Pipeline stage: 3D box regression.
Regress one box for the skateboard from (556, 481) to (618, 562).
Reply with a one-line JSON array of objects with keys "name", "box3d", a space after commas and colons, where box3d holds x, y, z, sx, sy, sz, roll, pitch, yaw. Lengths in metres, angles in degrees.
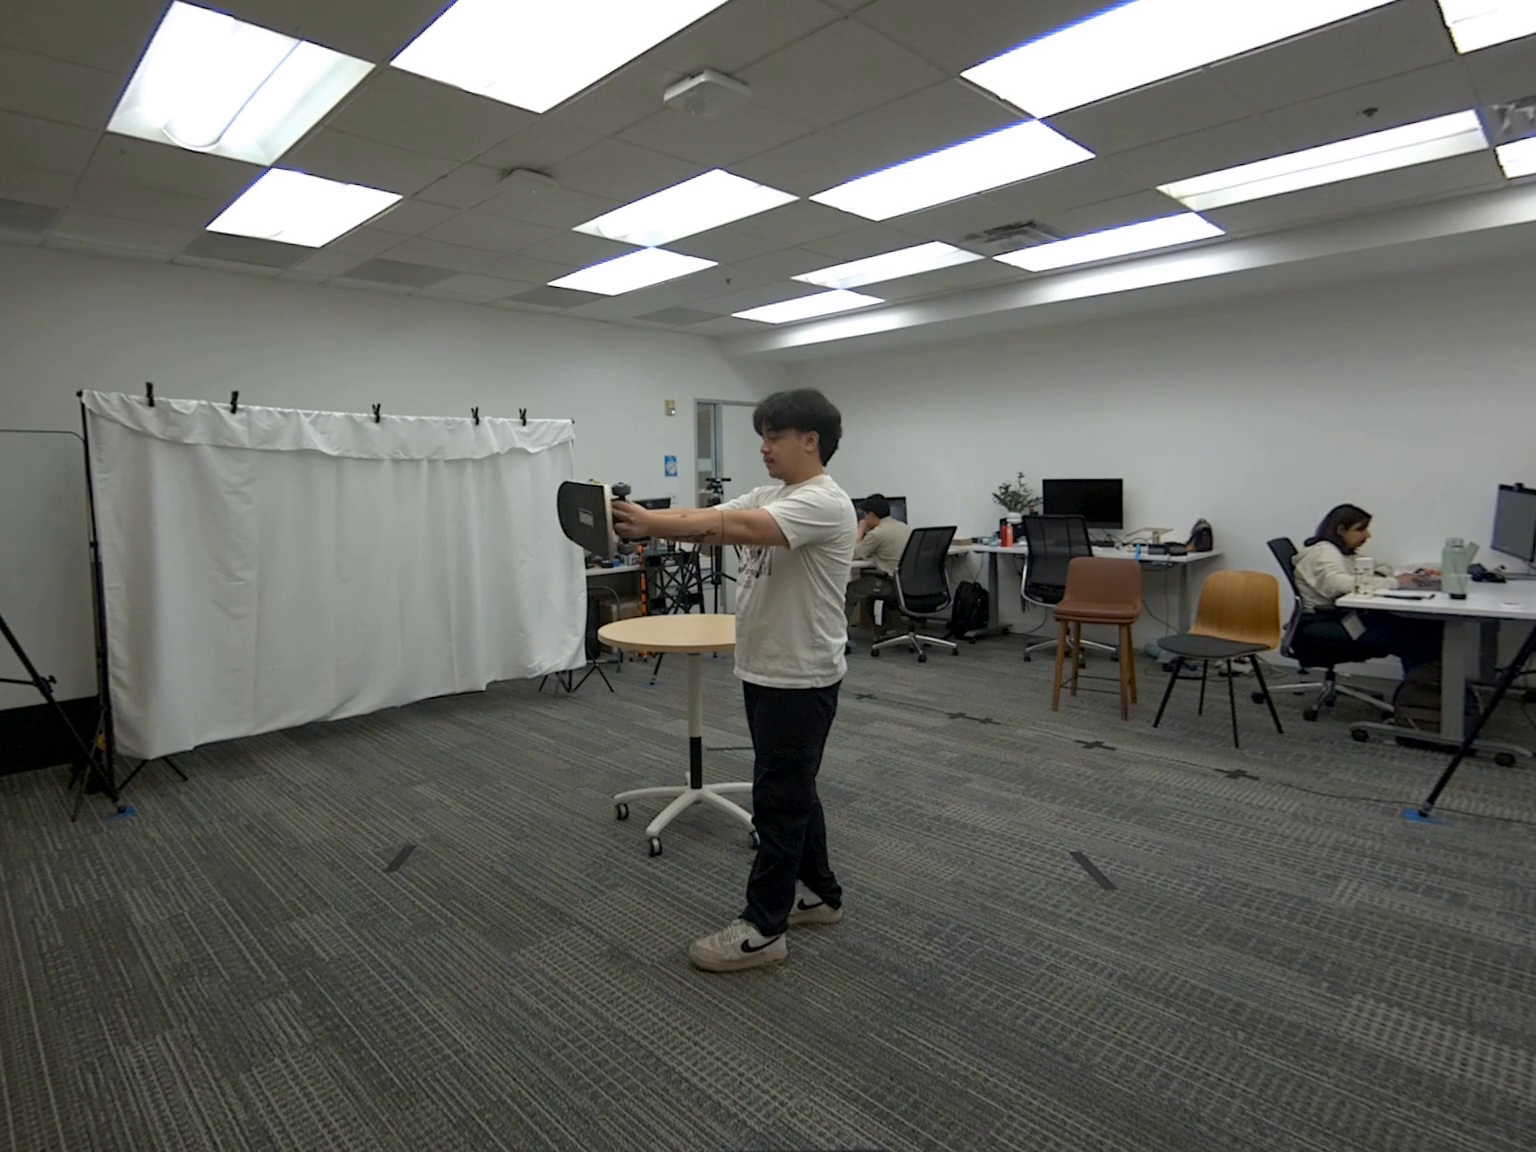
[{"name": "skateboard", "box3d": [-0.467, -0.160, 2.351, 0.108, 0.192, 0.803, -3, 8, -20]}]
